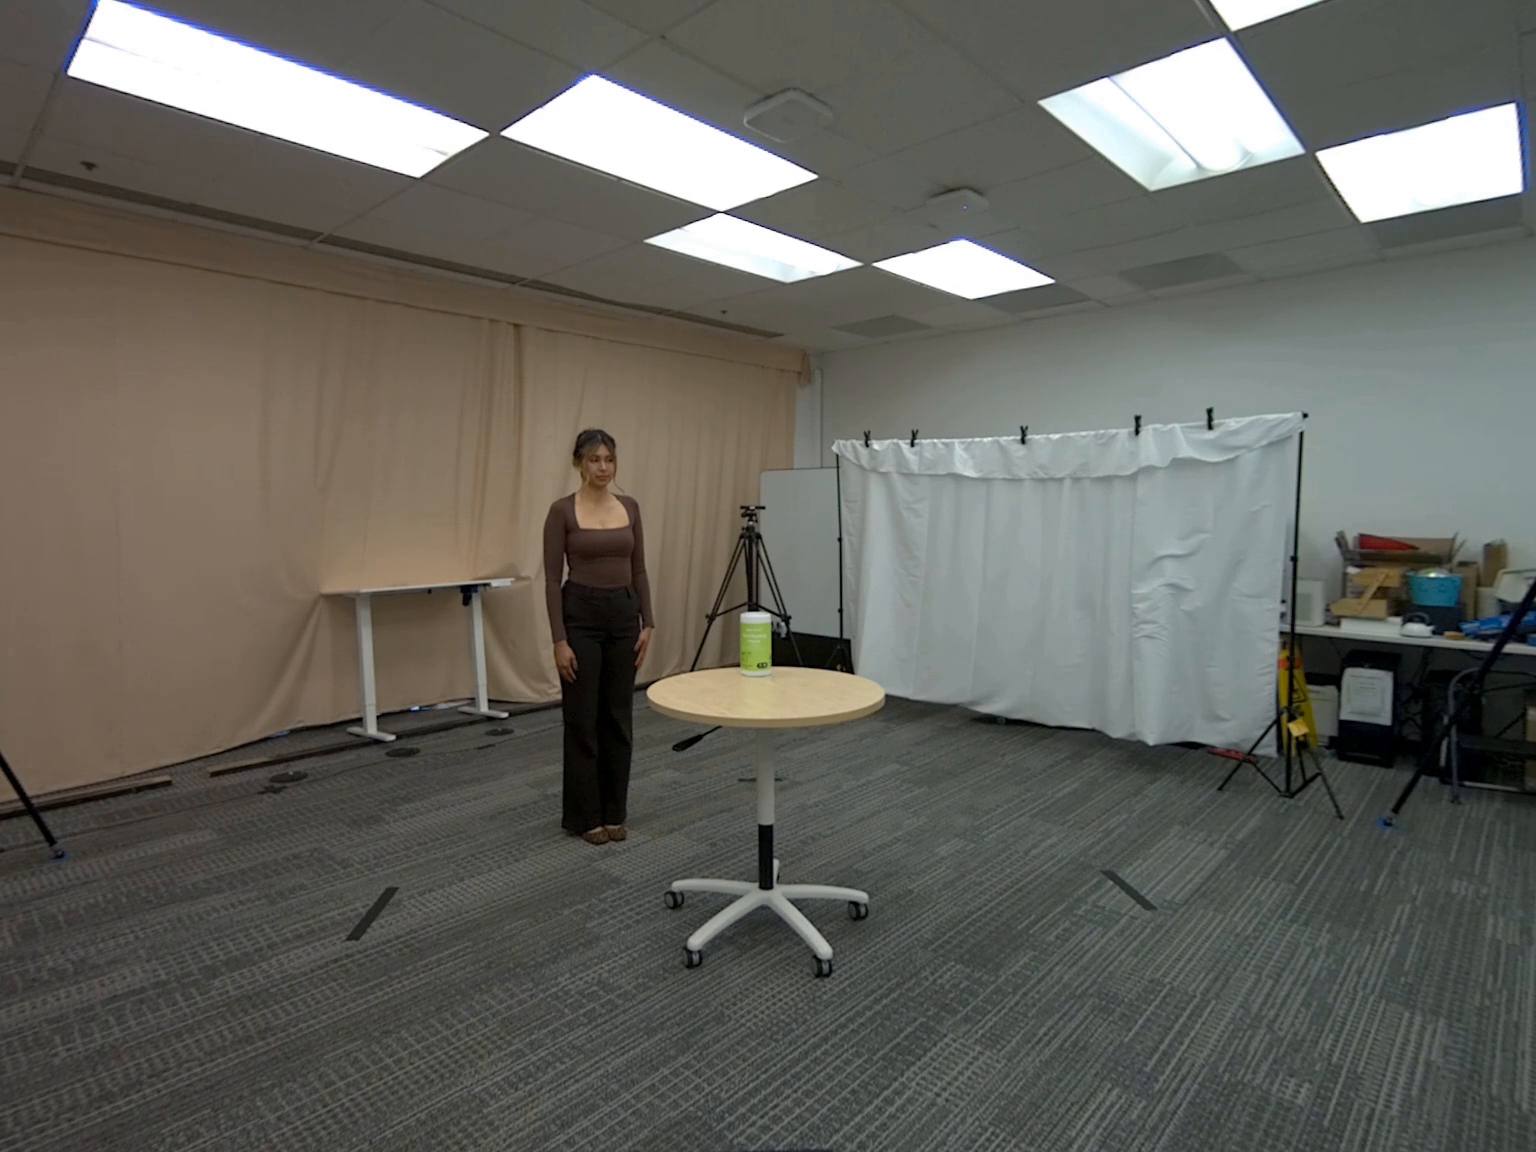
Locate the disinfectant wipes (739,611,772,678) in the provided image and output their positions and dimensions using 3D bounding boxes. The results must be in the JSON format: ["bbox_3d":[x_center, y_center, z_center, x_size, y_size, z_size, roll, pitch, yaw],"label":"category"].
[{"bbox_3d":[-0.034,0.242,2.979,0.118,0.217,0.118,0,3,-2],"label":"disinfectant wipes"}]
